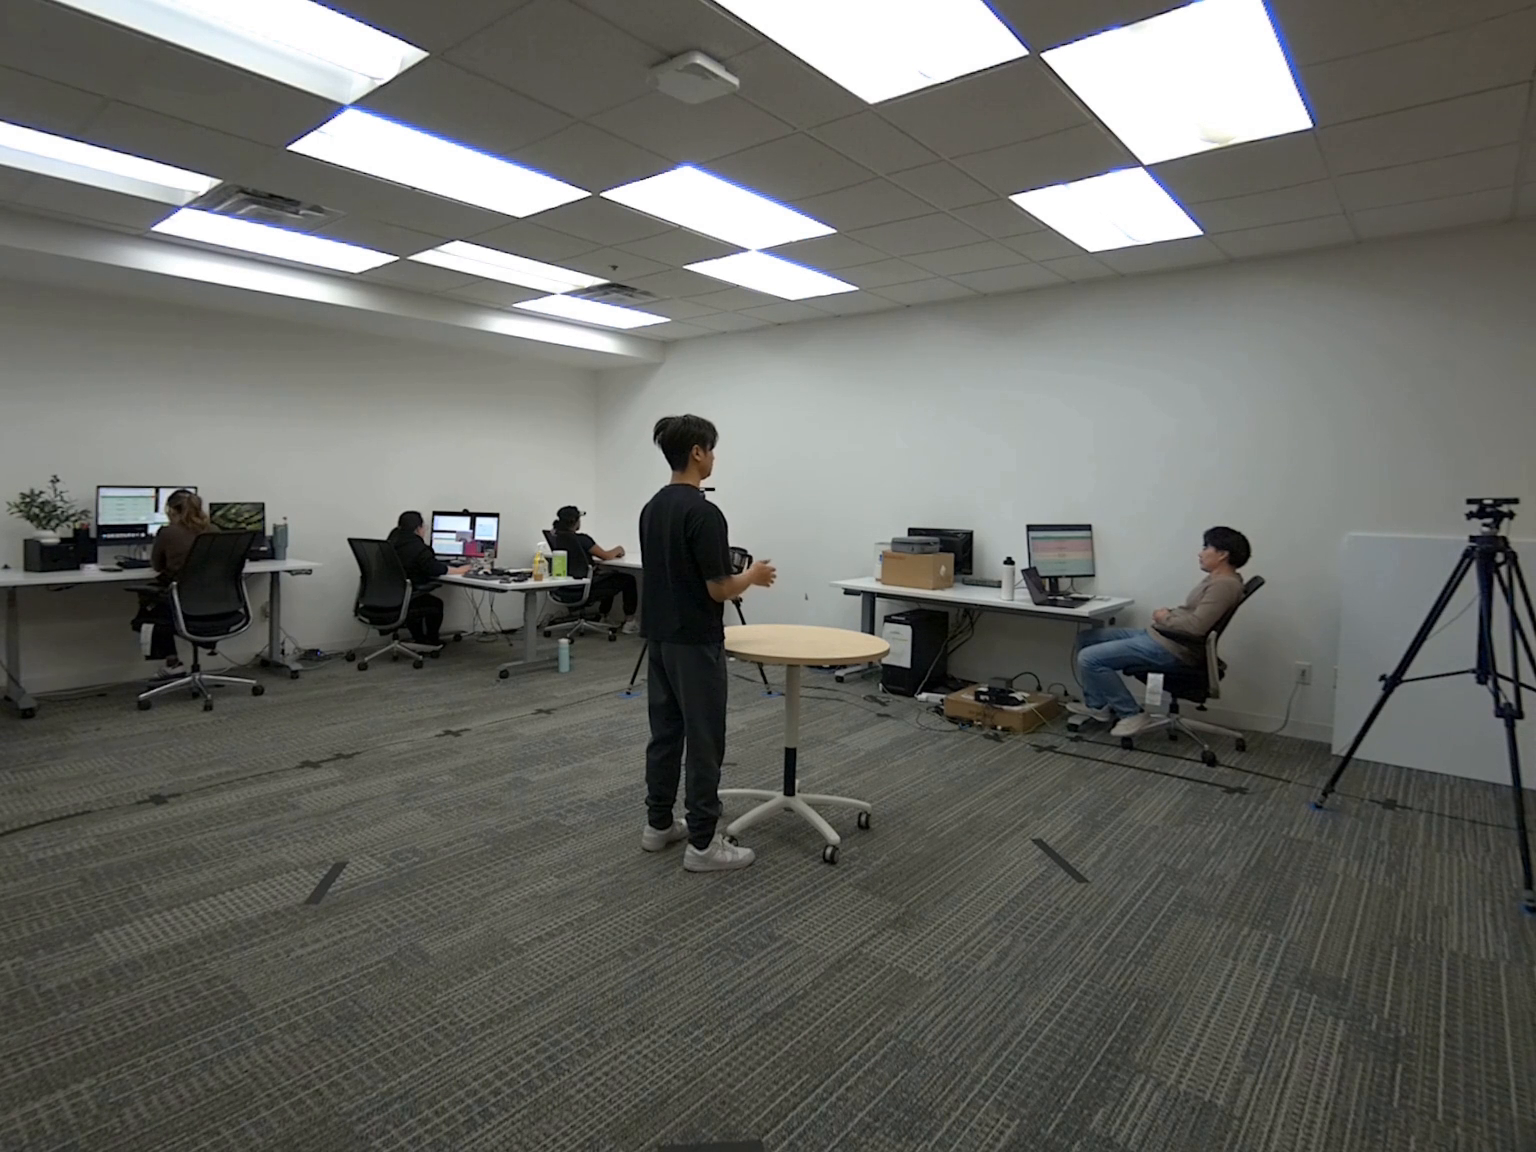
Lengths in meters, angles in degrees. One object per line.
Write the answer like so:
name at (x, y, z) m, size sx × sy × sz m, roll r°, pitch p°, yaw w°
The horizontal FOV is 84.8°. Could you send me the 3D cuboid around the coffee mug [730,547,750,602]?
coffee mug at (-0.156, -0.007, 3.420) m, size 0.087 × 0.204 × 0.123 m, roll 14°, pitch -6°, yaw -10°
